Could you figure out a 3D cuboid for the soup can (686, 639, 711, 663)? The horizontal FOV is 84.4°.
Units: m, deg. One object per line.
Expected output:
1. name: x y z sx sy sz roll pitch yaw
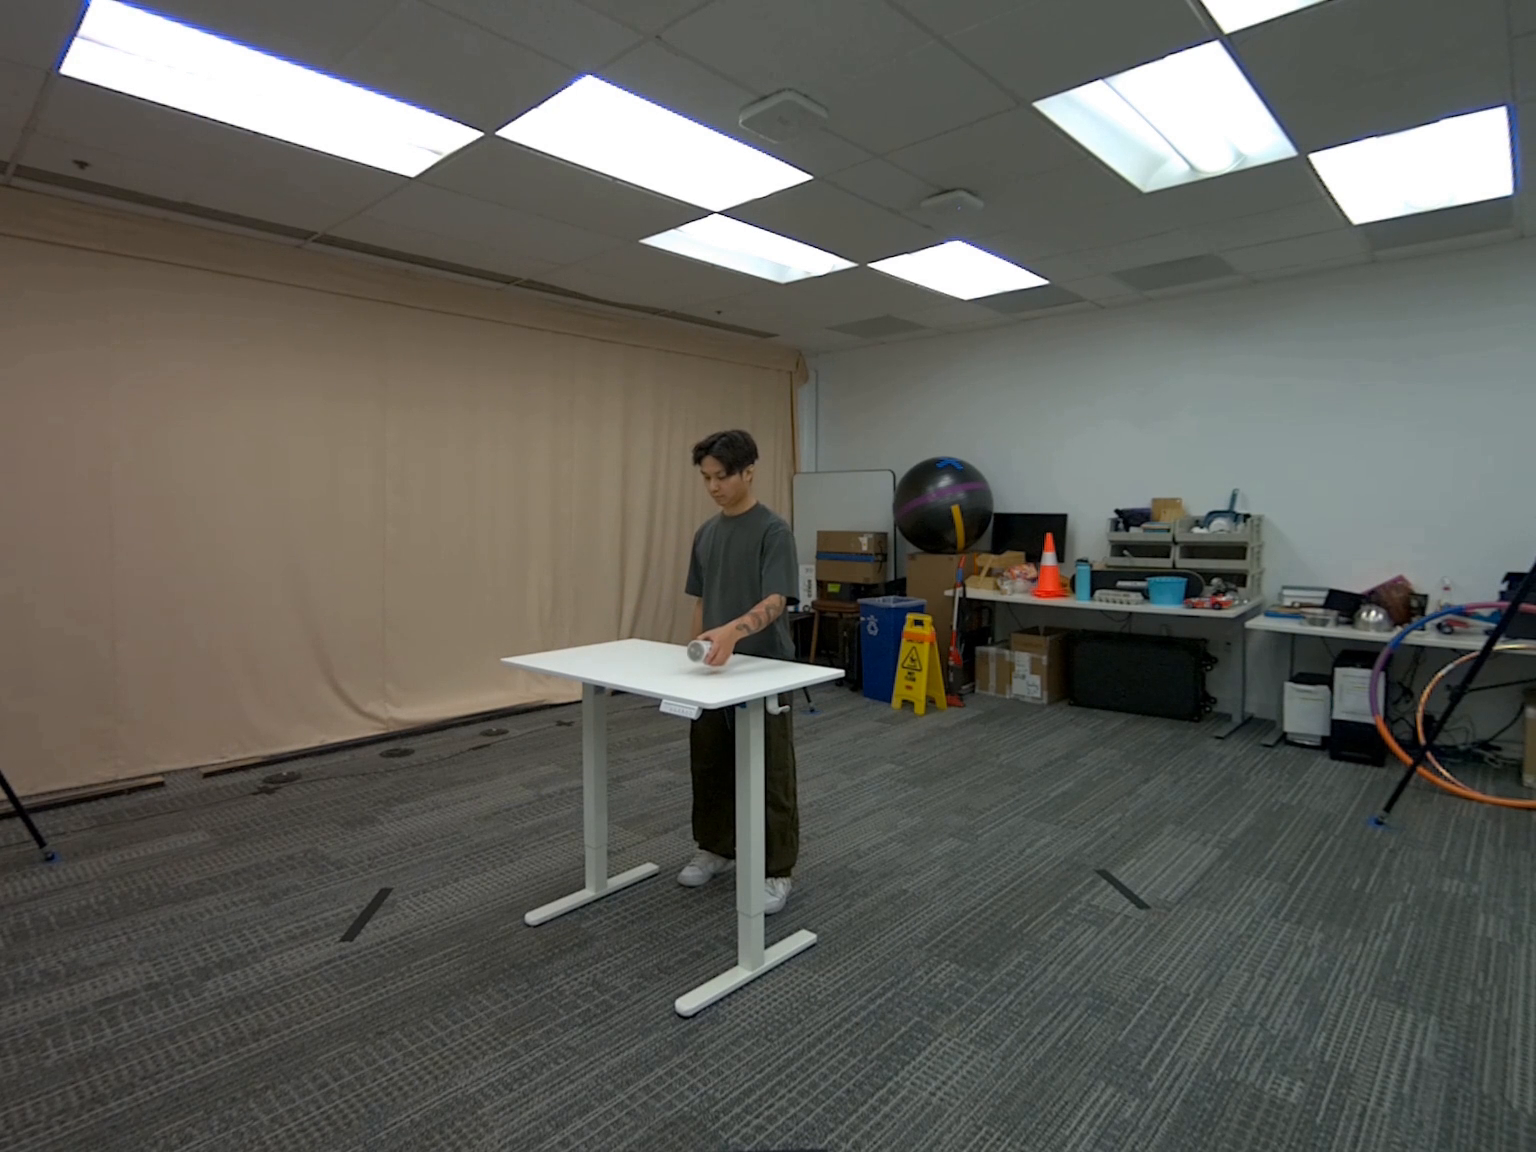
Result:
1. soup can: -0.197 0.231 2.579 0.069 0.067 0.118 2 -3 28
